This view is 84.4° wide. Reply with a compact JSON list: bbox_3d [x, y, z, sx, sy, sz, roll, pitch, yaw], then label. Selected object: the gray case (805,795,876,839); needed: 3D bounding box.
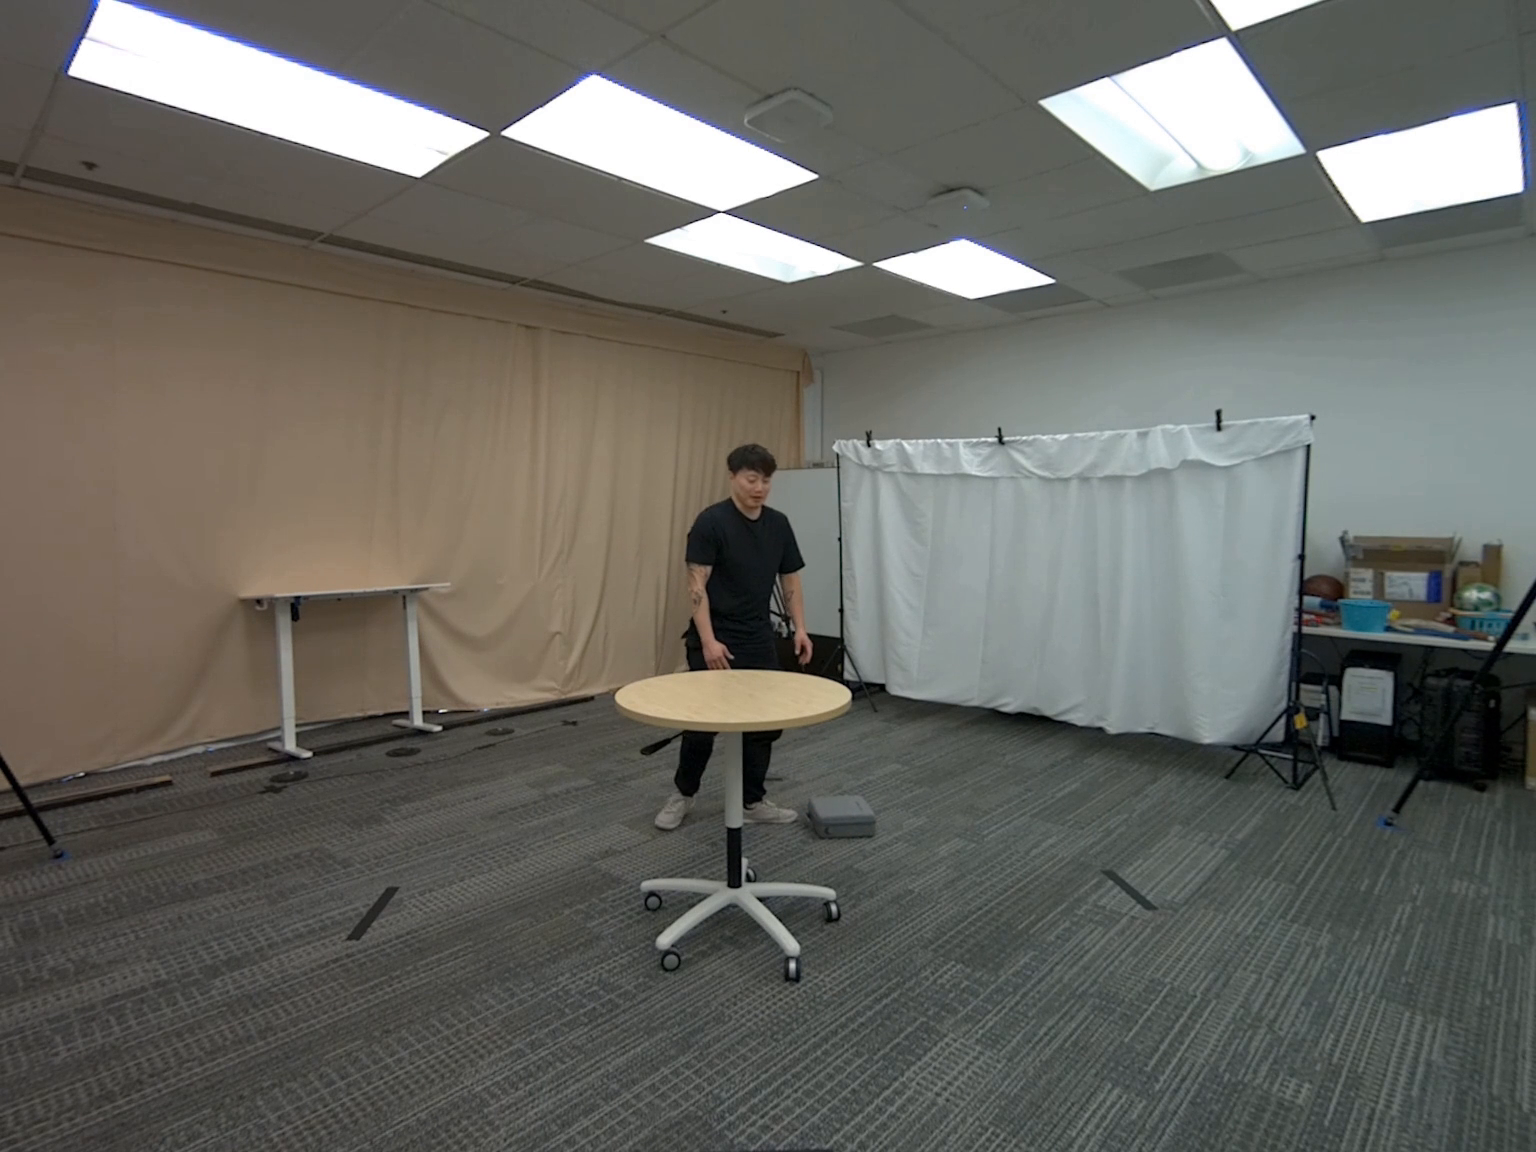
[{"bbox_3d":[0.319,1.031,3.637,0.259,0.104,0.259,-1,4,-7],"label":"gray case"}]
